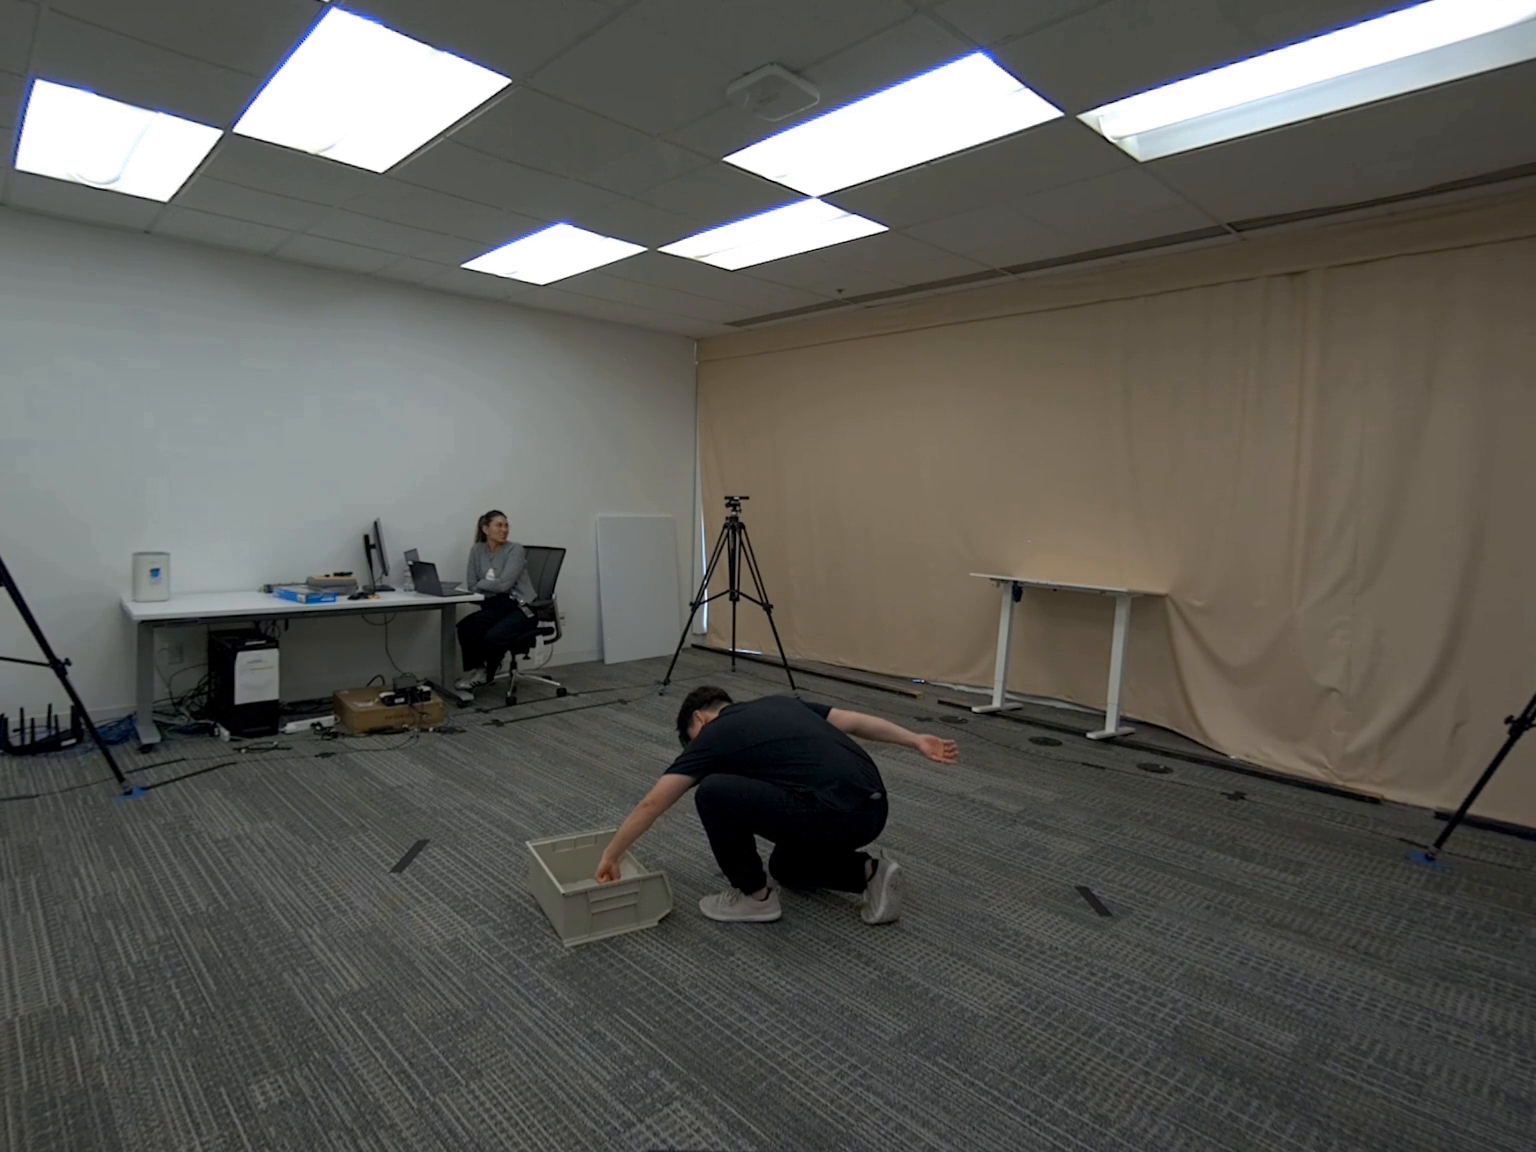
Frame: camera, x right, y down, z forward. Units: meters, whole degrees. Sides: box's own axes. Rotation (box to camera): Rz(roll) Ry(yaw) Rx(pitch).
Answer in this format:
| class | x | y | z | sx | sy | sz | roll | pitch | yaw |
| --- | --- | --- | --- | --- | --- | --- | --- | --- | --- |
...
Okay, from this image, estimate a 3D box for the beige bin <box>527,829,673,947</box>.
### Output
| class | x | y | z | sx | sy | sz | roll | pitch | yaw |
| --- | --- | --- | --- | --- | --- | --- | --- | --- | --- |
| beige bin | -0.576 | 1.024 | 2.839 | 0.370 | 0.188 | 0.432 | -2 | 7 | -30 |
